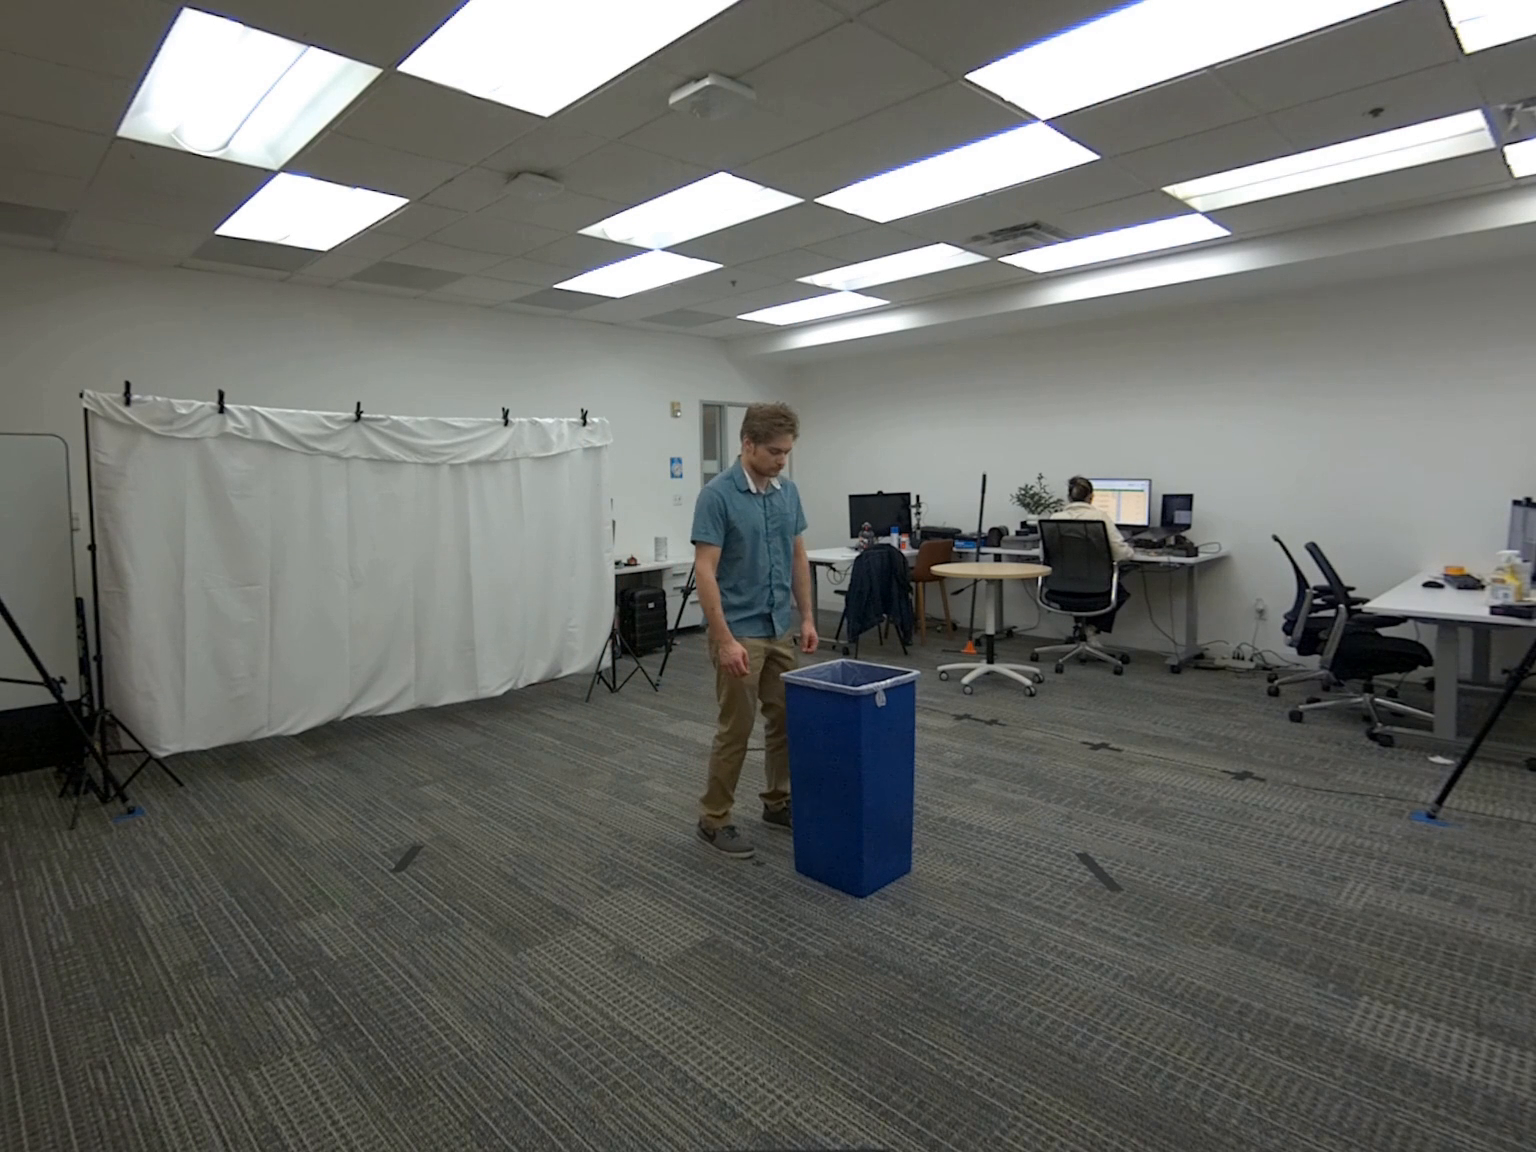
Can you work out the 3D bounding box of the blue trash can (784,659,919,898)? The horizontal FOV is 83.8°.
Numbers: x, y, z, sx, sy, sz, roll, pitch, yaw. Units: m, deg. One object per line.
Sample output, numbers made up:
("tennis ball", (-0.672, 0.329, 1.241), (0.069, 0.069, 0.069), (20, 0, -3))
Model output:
("blue trash can", (0.299, 0.696, 3.011), (0.389, 0.712, 0.364), (2, 3, 44))
